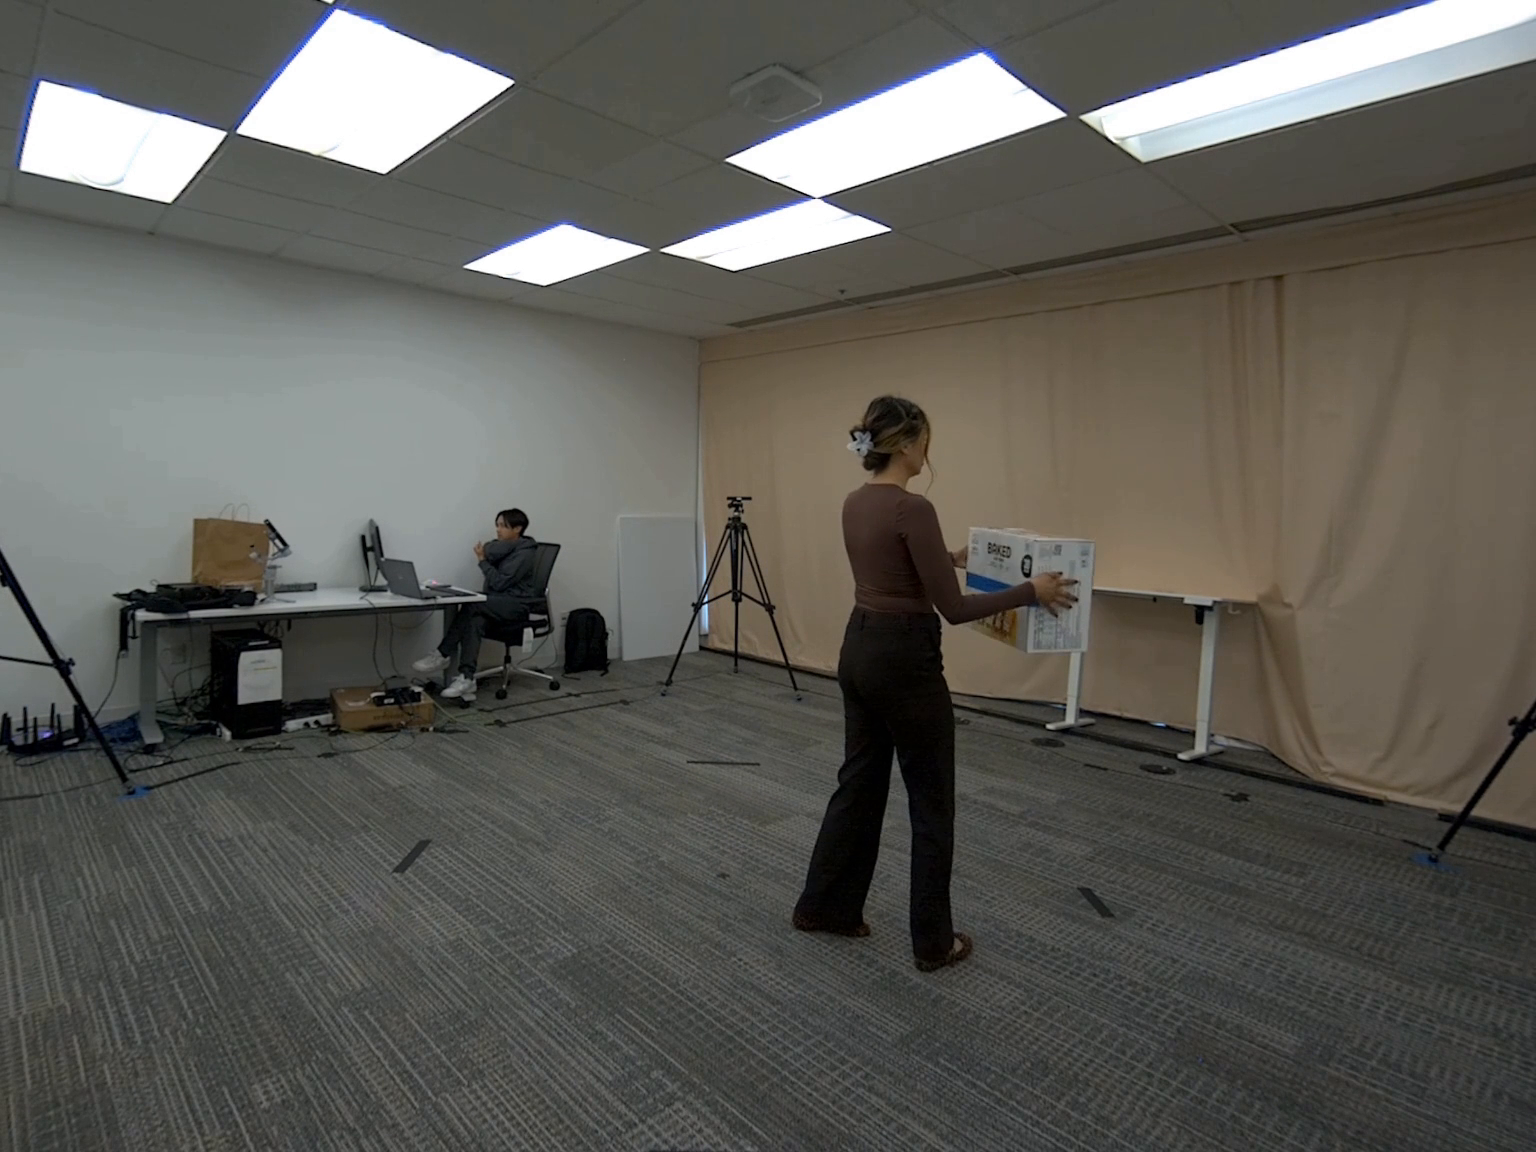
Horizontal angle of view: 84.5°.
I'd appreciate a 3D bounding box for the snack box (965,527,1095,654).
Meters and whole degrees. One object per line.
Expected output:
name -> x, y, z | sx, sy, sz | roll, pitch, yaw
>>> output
snack box -> 0.814, 0.032, 2.681 | 0.203, 0.339, 0.411 | 0, 7, -15
